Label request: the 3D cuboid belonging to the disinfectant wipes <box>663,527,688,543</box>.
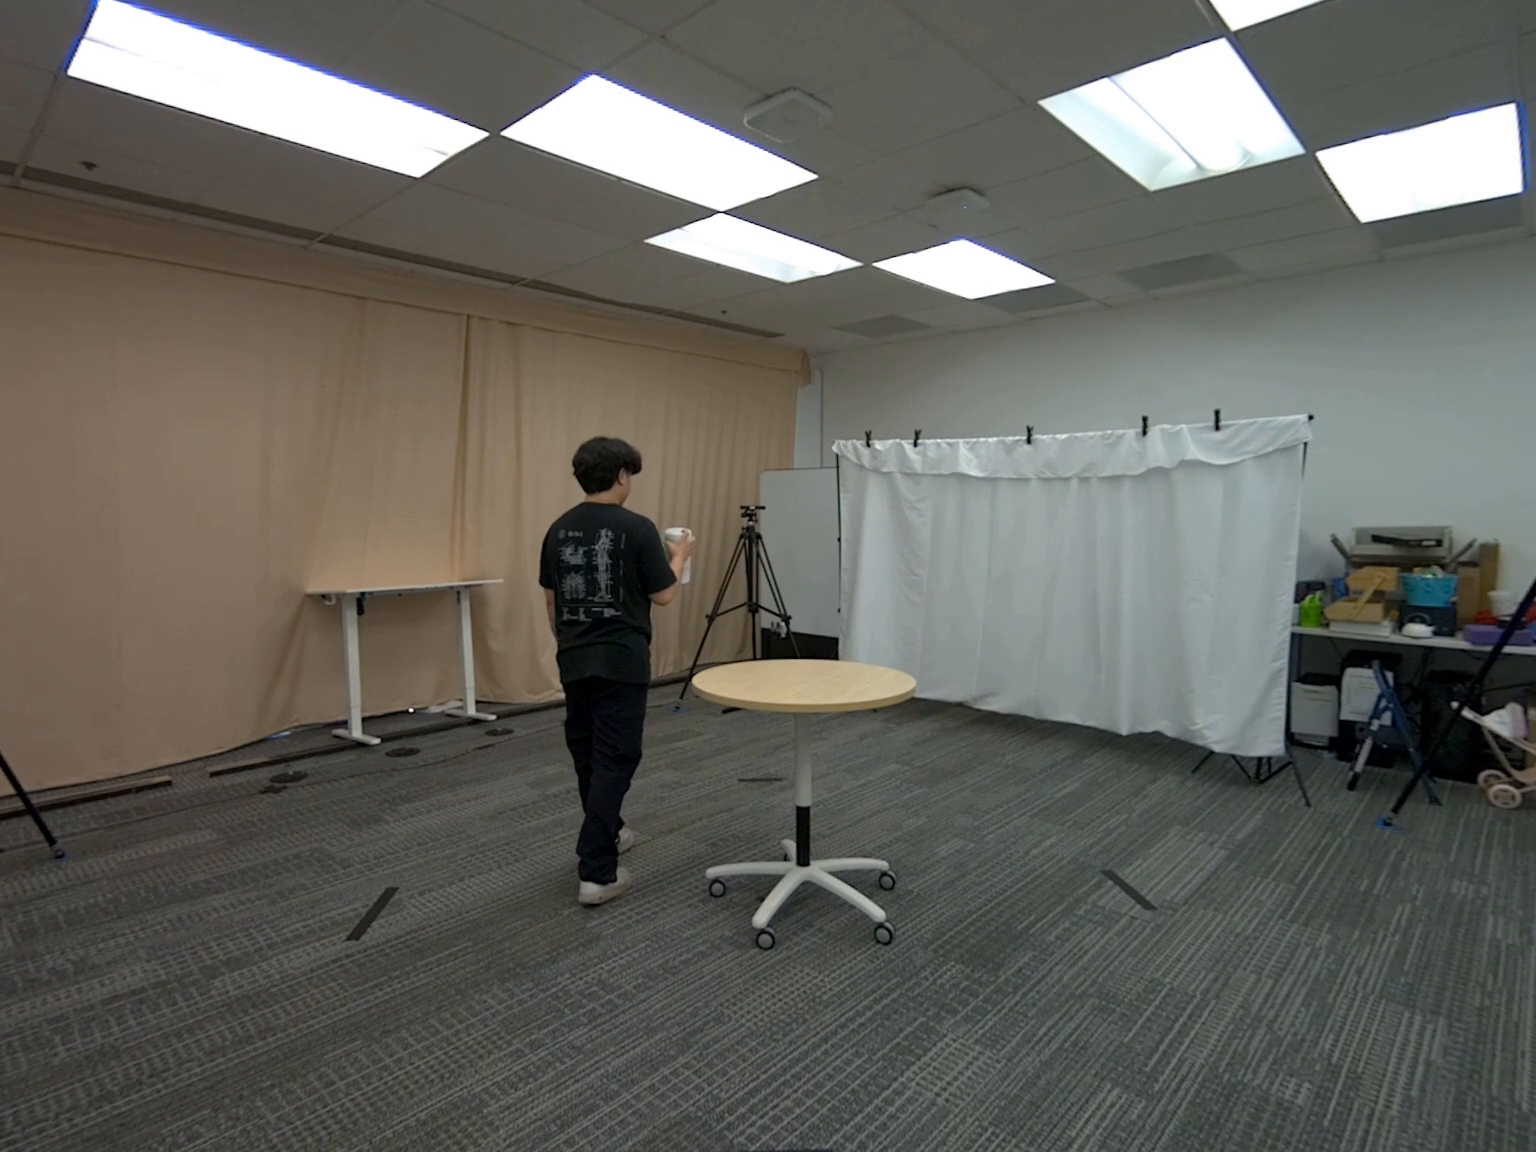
[{"bbox_3d":[-0.353,-0.080,3.461,0.117,0.216,0.119,3,14,-3],"label":"disinfectant wipes"}]
